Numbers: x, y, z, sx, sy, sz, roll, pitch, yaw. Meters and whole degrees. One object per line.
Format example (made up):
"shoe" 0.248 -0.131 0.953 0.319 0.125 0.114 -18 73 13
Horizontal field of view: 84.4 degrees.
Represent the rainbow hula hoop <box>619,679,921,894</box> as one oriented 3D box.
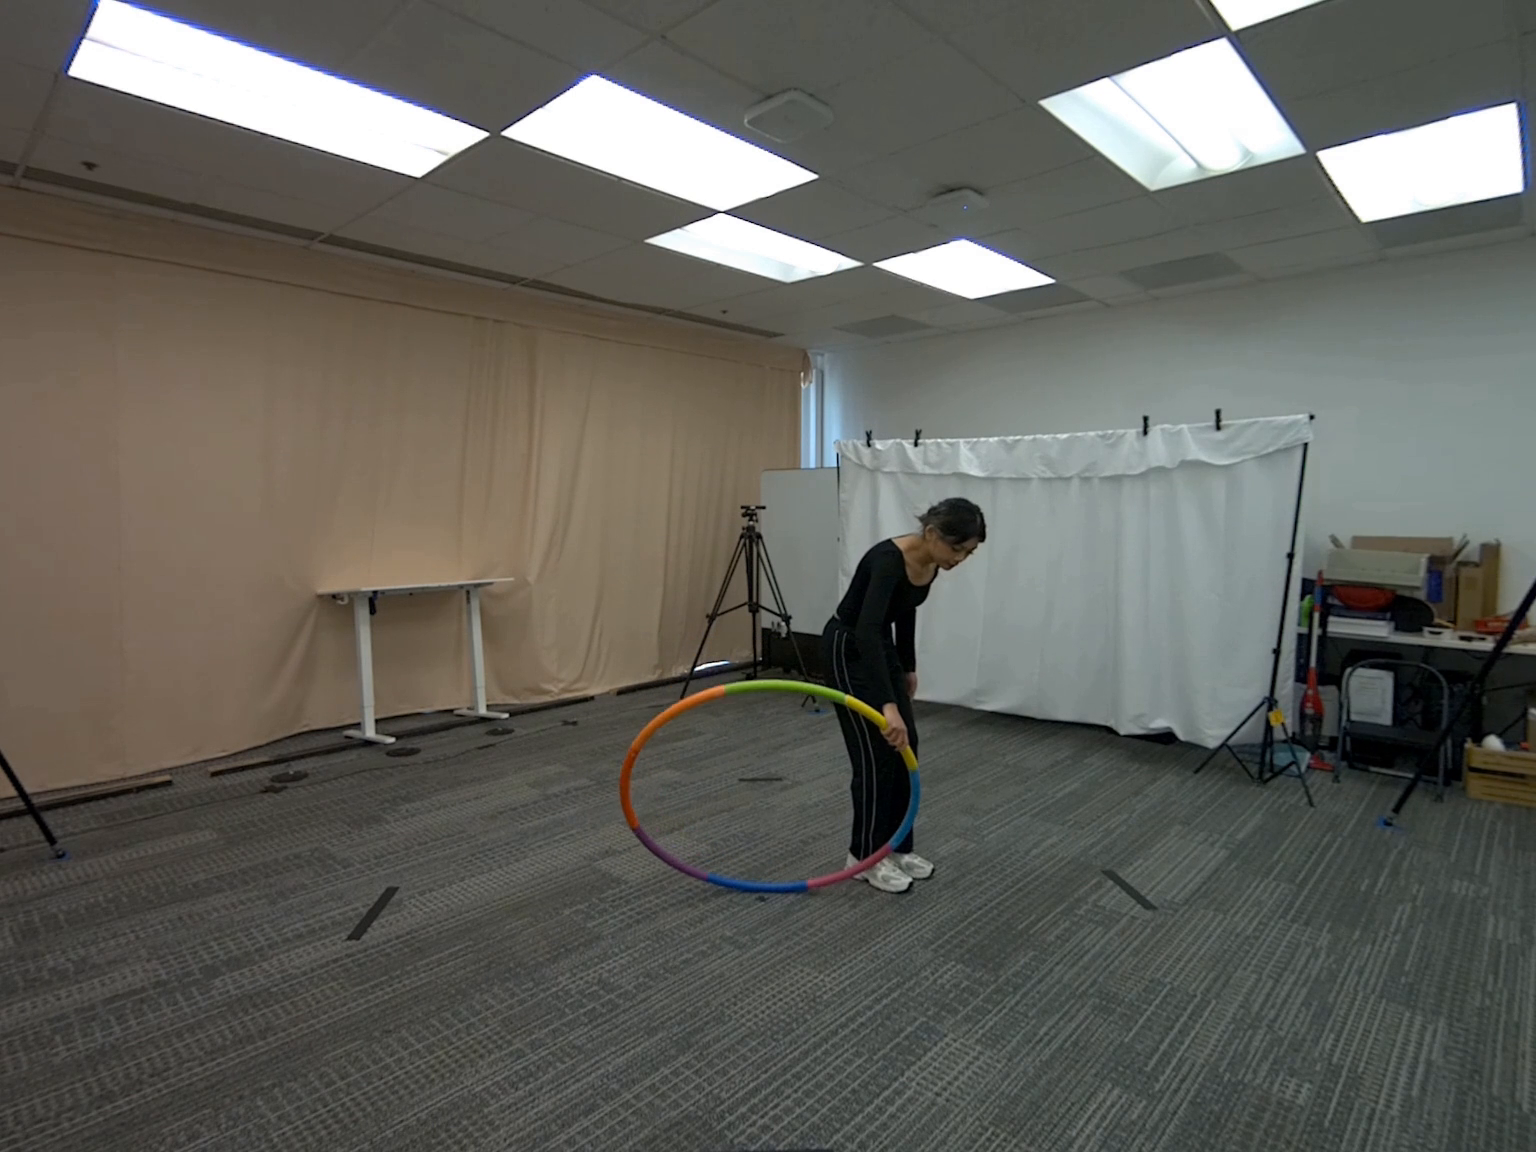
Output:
"rainbow hula hoop" 0.004 0.735 2.802 0.982 0.961 0.036 1 33 3
